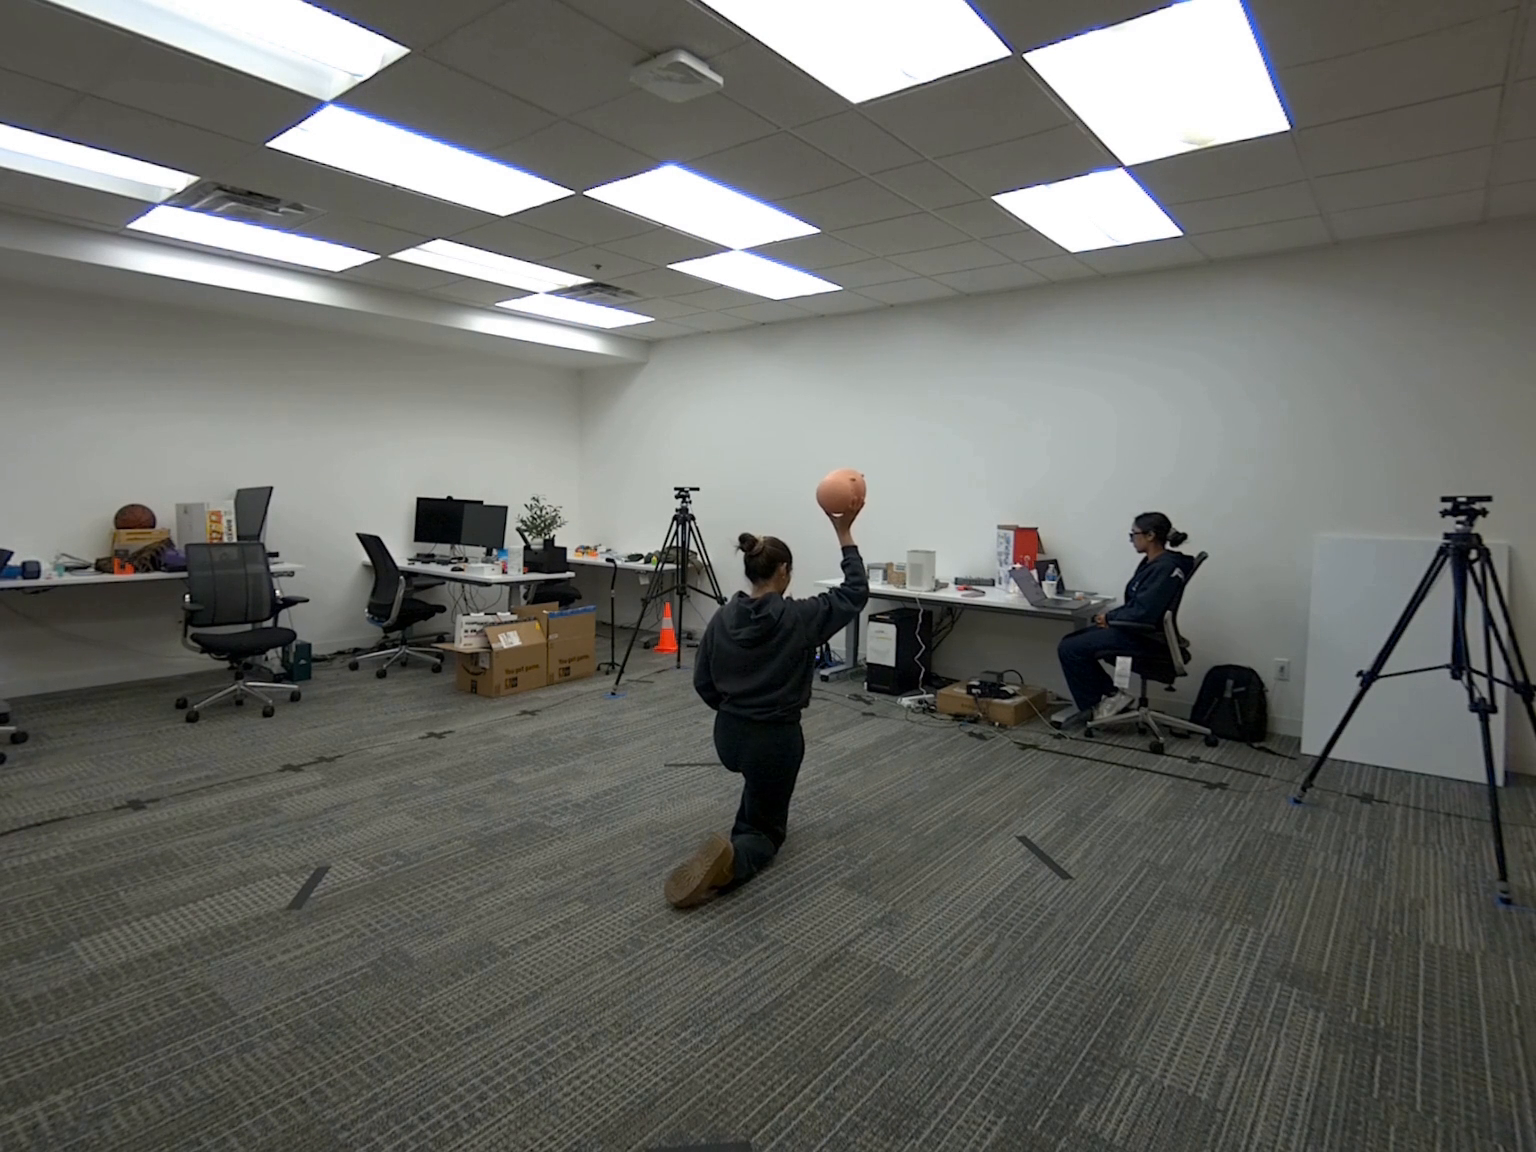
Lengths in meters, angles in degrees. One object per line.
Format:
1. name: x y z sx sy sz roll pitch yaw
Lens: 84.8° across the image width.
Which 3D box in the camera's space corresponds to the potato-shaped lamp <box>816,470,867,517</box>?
1. potato-shaped lamp: 0.266 -0.311 3.139 0.175 0.162 0.197 6 20 19
